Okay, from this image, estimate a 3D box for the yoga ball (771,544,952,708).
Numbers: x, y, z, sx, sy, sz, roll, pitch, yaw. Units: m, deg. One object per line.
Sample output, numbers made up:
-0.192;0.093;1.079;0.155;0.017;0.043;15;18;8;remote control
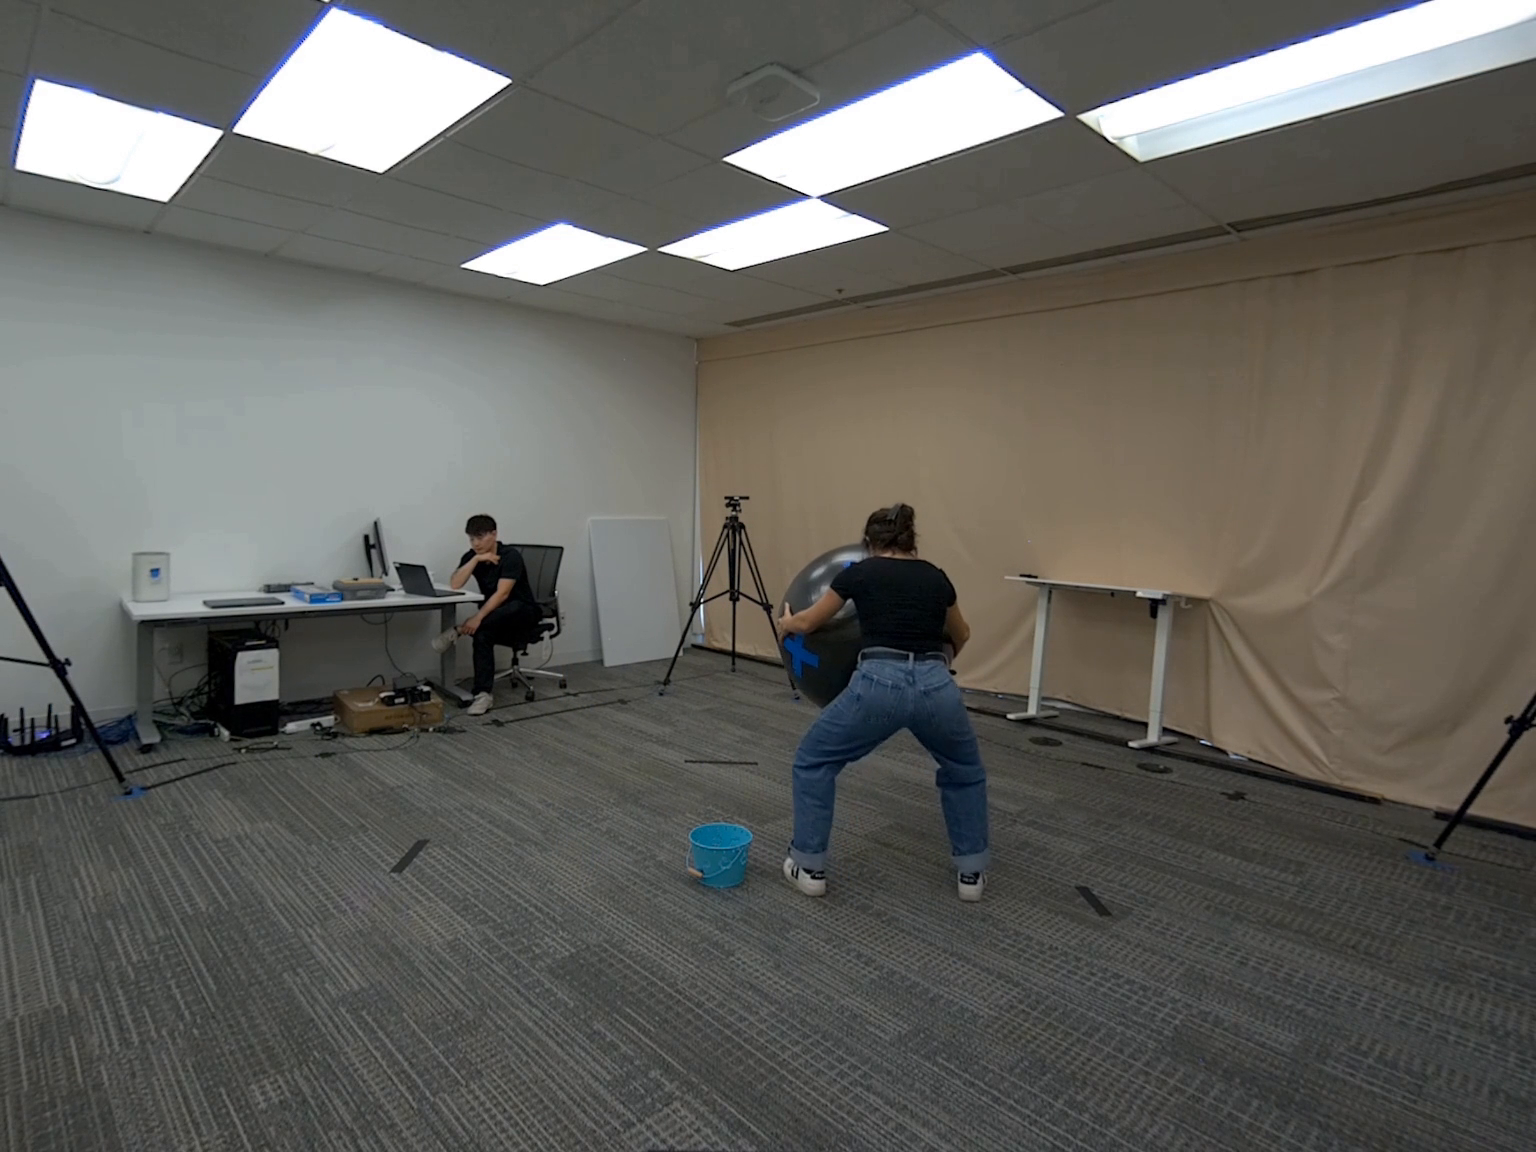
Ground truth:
0.423;0.242;3.601;0.757;0.756;0.760;1;4;-1;yoga ball
